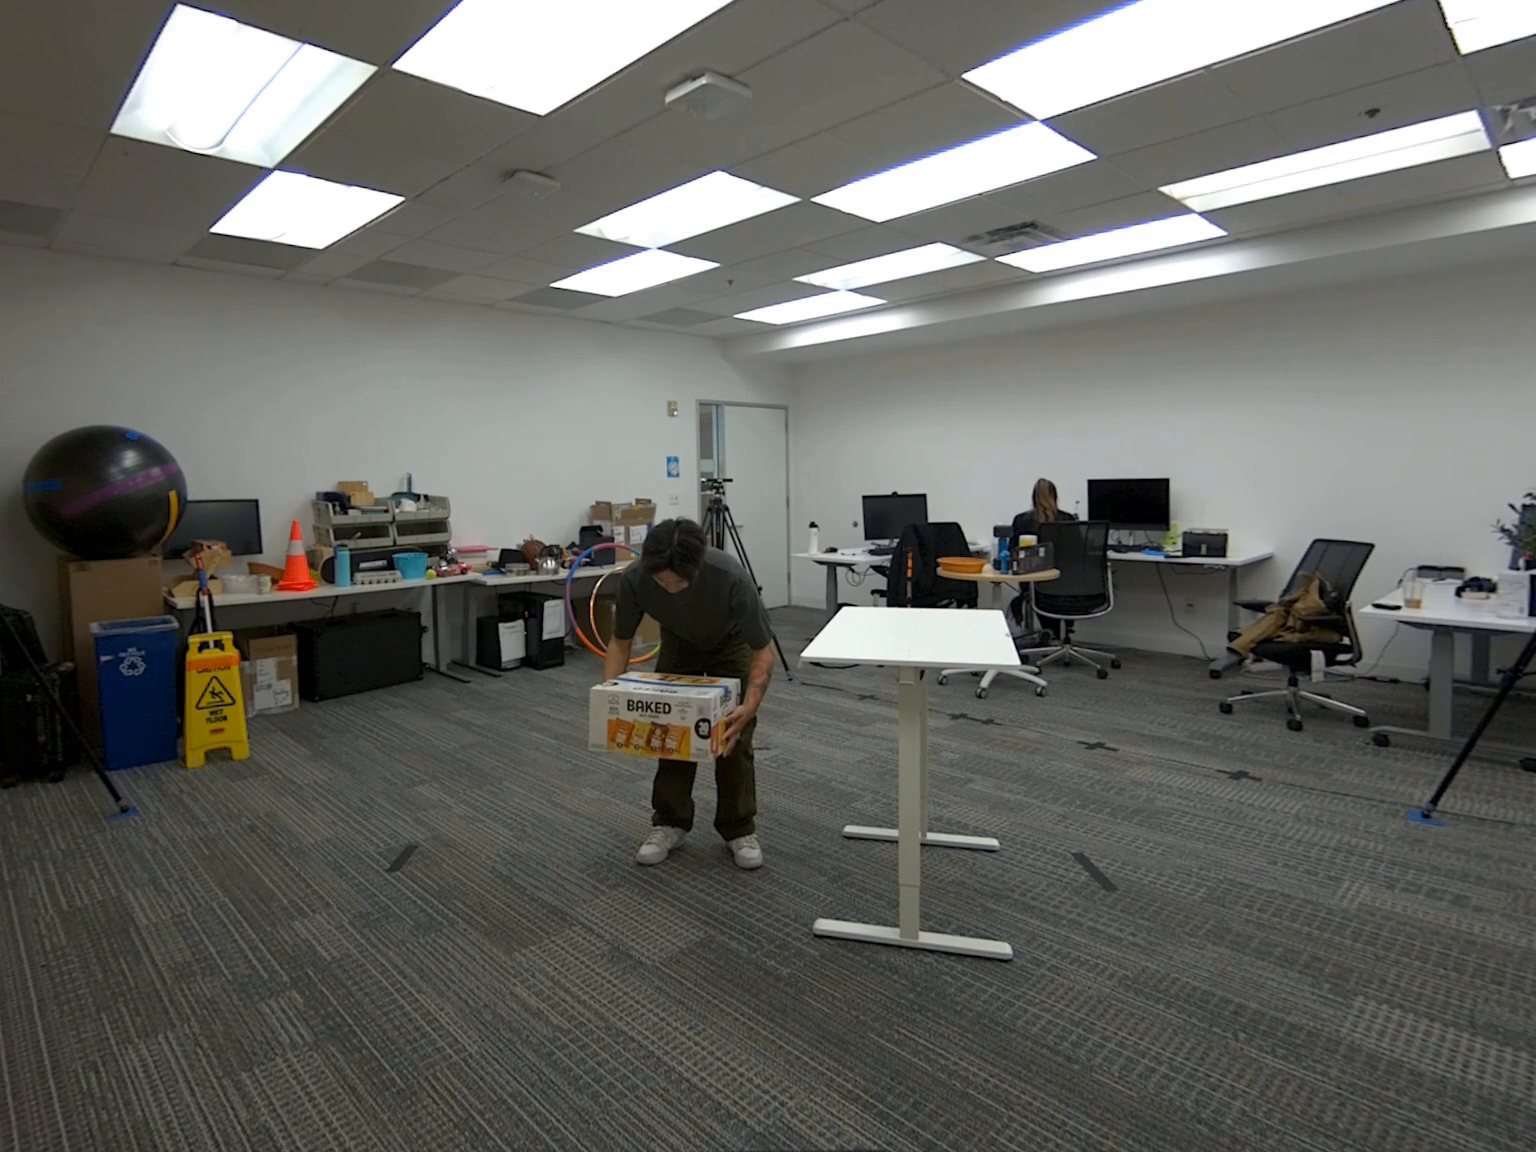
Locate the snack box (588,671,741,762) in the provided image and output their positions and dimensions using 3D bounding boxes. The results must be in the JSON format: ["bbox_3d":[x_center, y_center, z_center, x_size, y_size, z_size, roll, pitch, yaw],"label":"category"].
[{"bbox_3d":[-0.336,0.455,2.811,0.411,0.205,0.336,2,2,15],"label":"snack box"}]
